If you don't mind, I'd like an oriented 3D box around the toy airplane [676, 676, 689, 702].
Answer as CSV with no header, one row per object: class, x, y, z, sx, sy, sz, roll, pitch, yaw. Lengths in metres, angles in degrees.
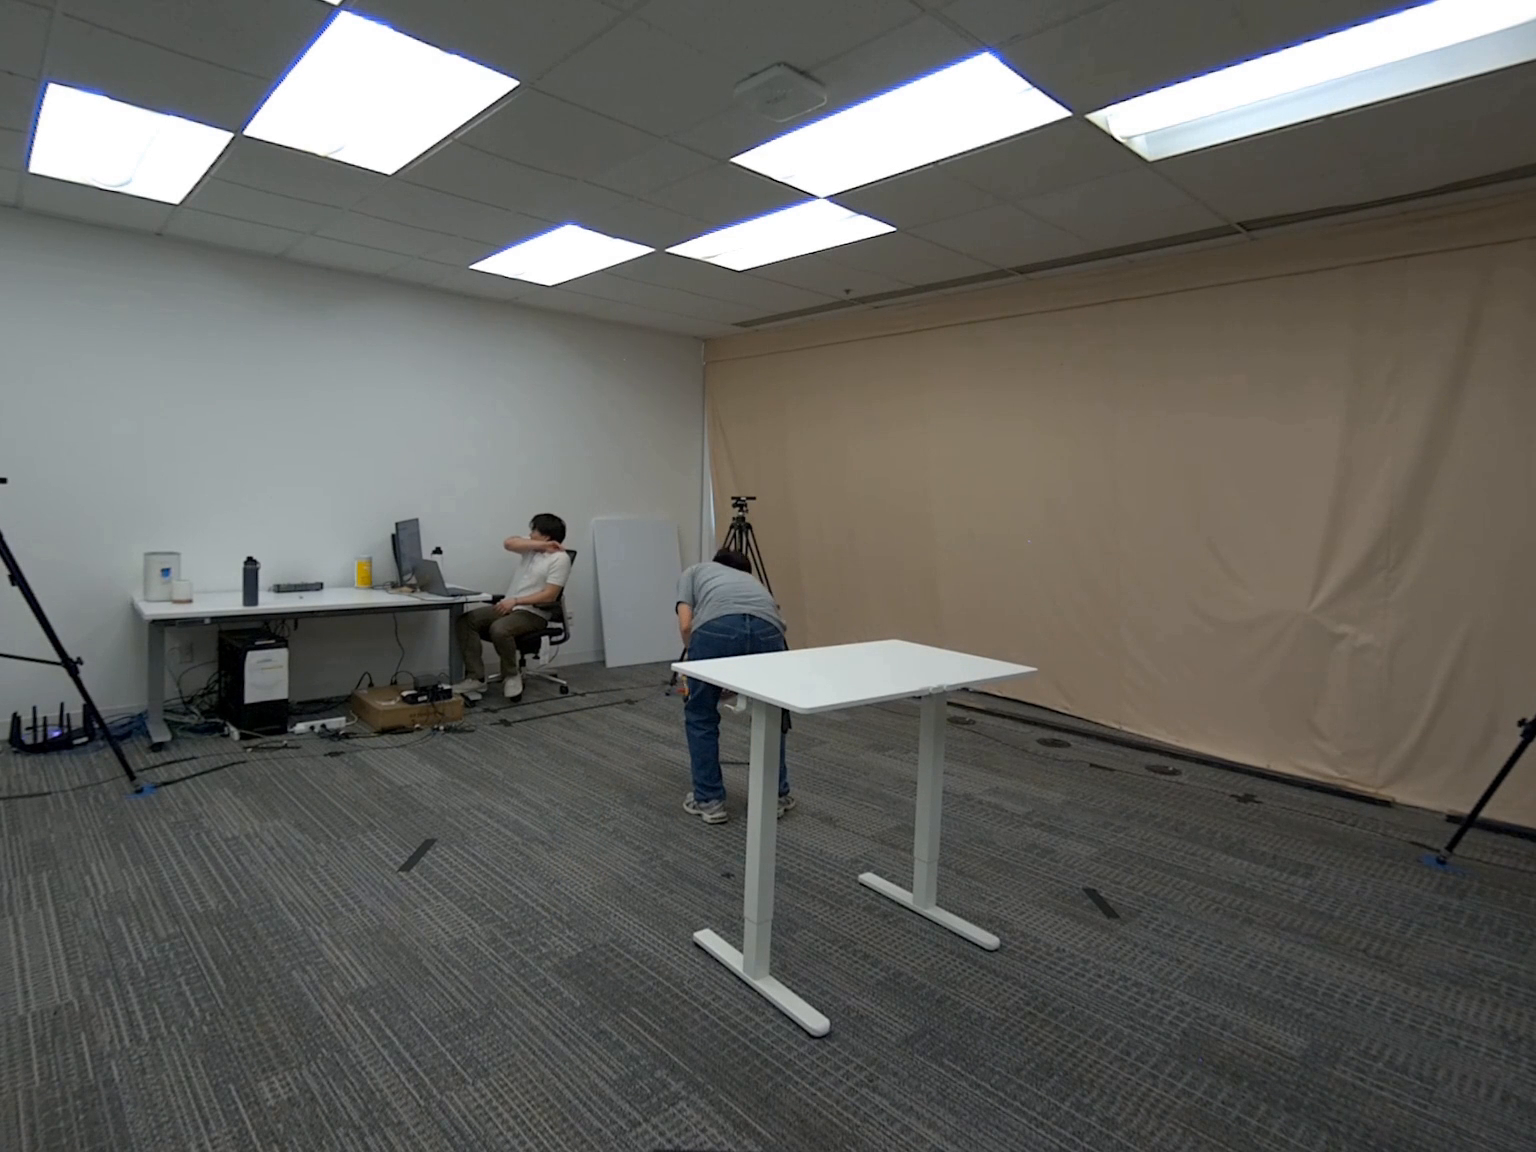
toy airplane,-0.347,0.546,4.196,0.252,0.156,0.258,-9,1,6
